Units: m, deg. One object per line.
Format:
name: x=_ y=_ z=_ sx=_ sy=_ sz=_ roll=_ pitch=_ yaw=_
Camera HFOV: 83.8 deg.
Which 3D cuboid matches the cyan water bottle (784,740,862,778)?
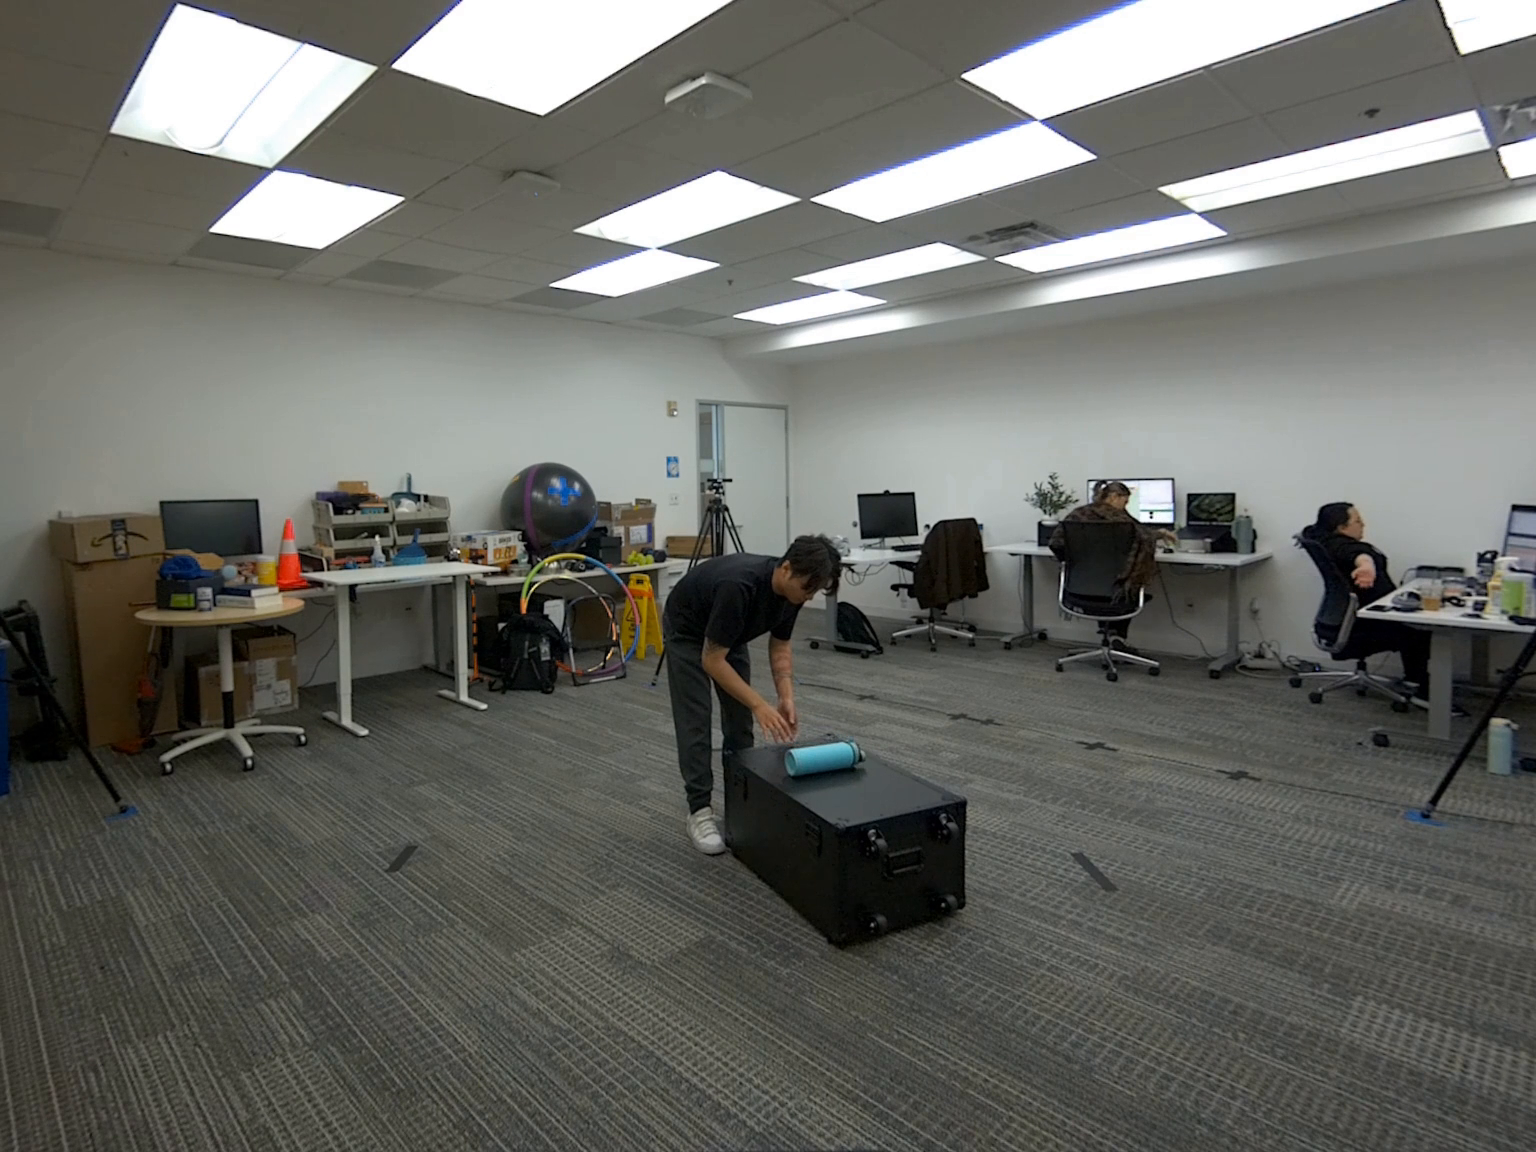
cyan water bottle: x=0.205 y=0.628 z=2.989 sx=0.278 sy=0.092 sz=0.094 roll=-4 pitch=6 yaw=-22
